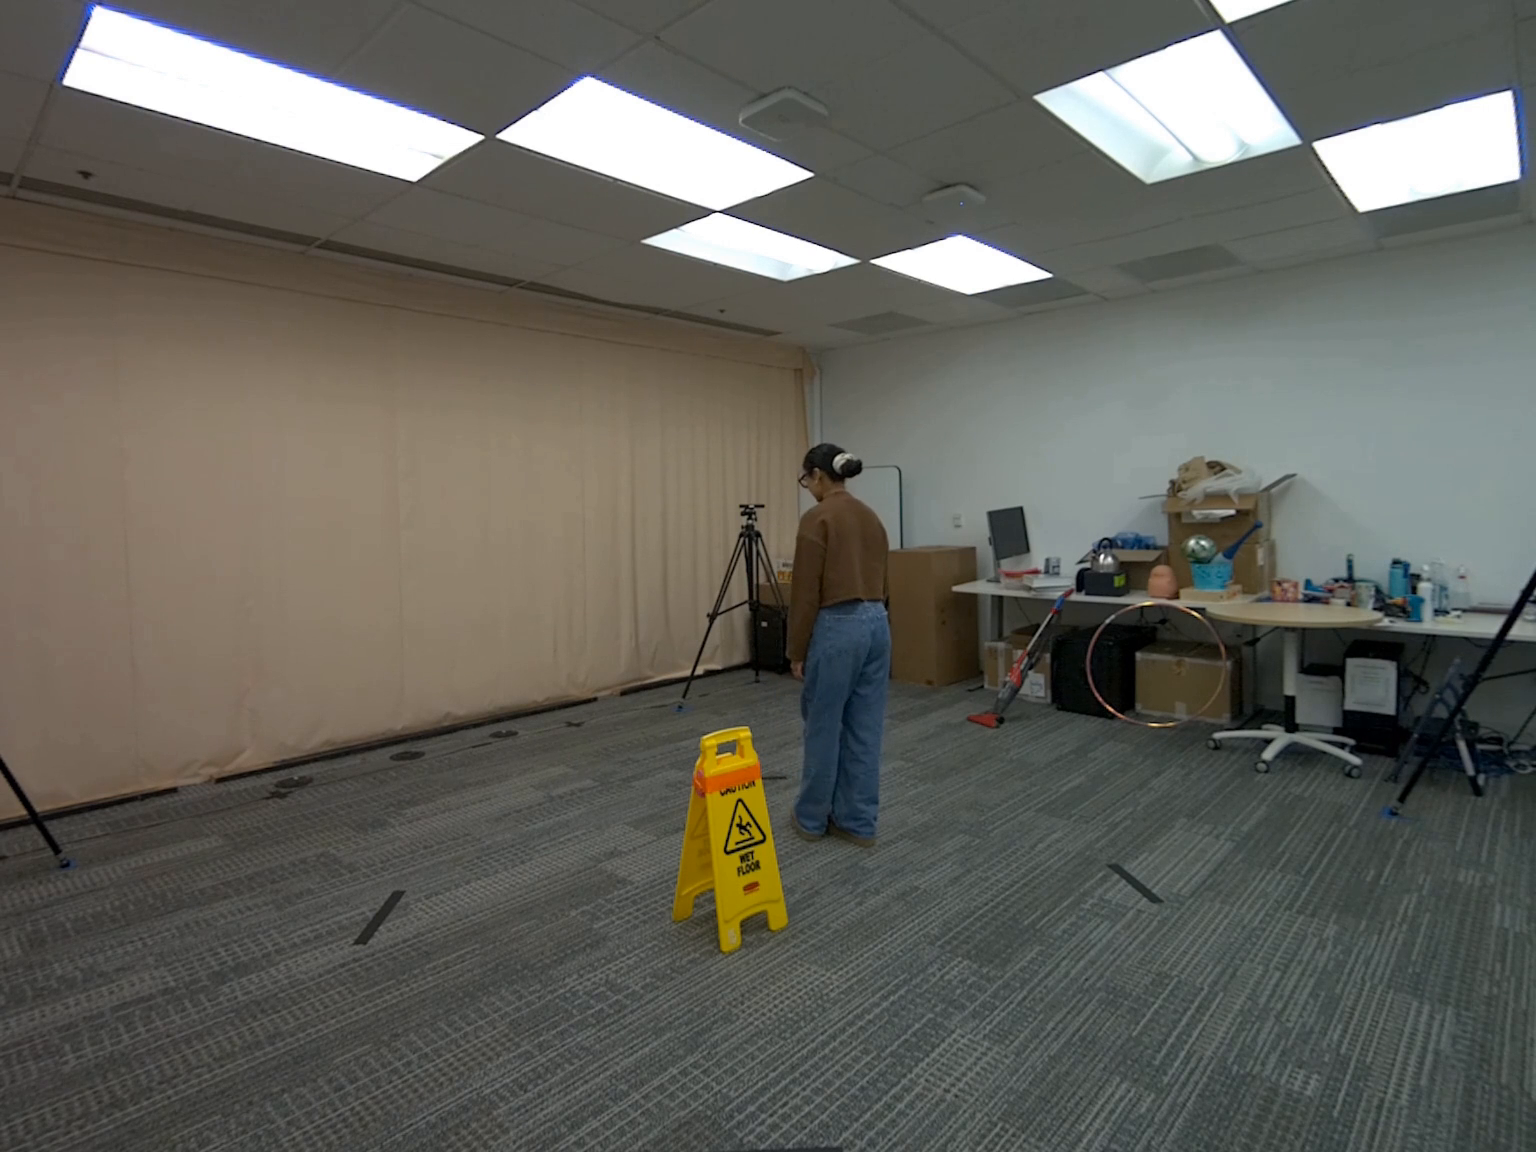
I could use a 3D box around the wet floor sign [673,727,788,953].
[{"bbox_3d":[-0.135,0.835,2.792,0.274,0.645,0.299,-3,4,-41],"label":"wet floor sign"}]
